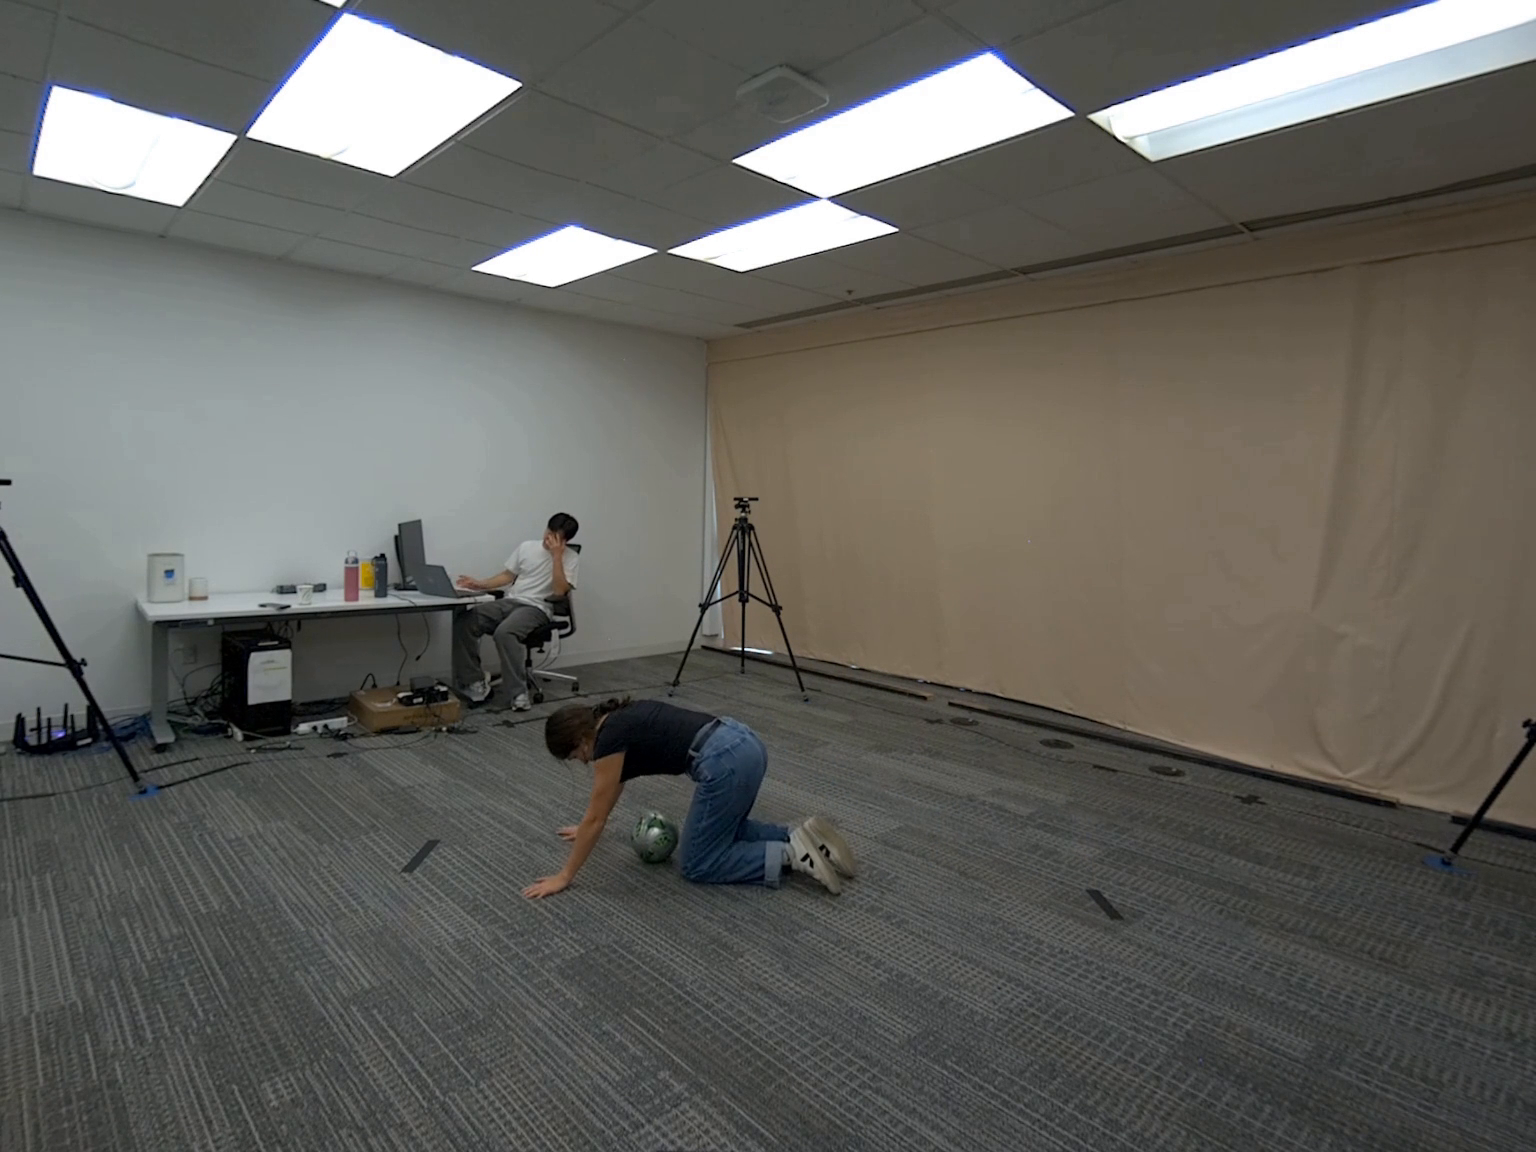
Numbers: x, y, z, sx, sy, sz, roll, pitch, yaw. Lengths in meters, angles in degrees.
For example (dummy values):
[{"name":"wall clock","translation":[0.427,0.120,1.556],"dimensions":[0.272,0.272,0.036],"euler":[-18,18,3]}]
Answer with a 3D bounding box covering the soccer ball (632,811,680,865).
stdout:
[{"name":"soccer ball","translation":[-0.436,0.993,3.229],"dimensions":[0.187,0.187,0.188],"euler":[1,4,-1]}]
